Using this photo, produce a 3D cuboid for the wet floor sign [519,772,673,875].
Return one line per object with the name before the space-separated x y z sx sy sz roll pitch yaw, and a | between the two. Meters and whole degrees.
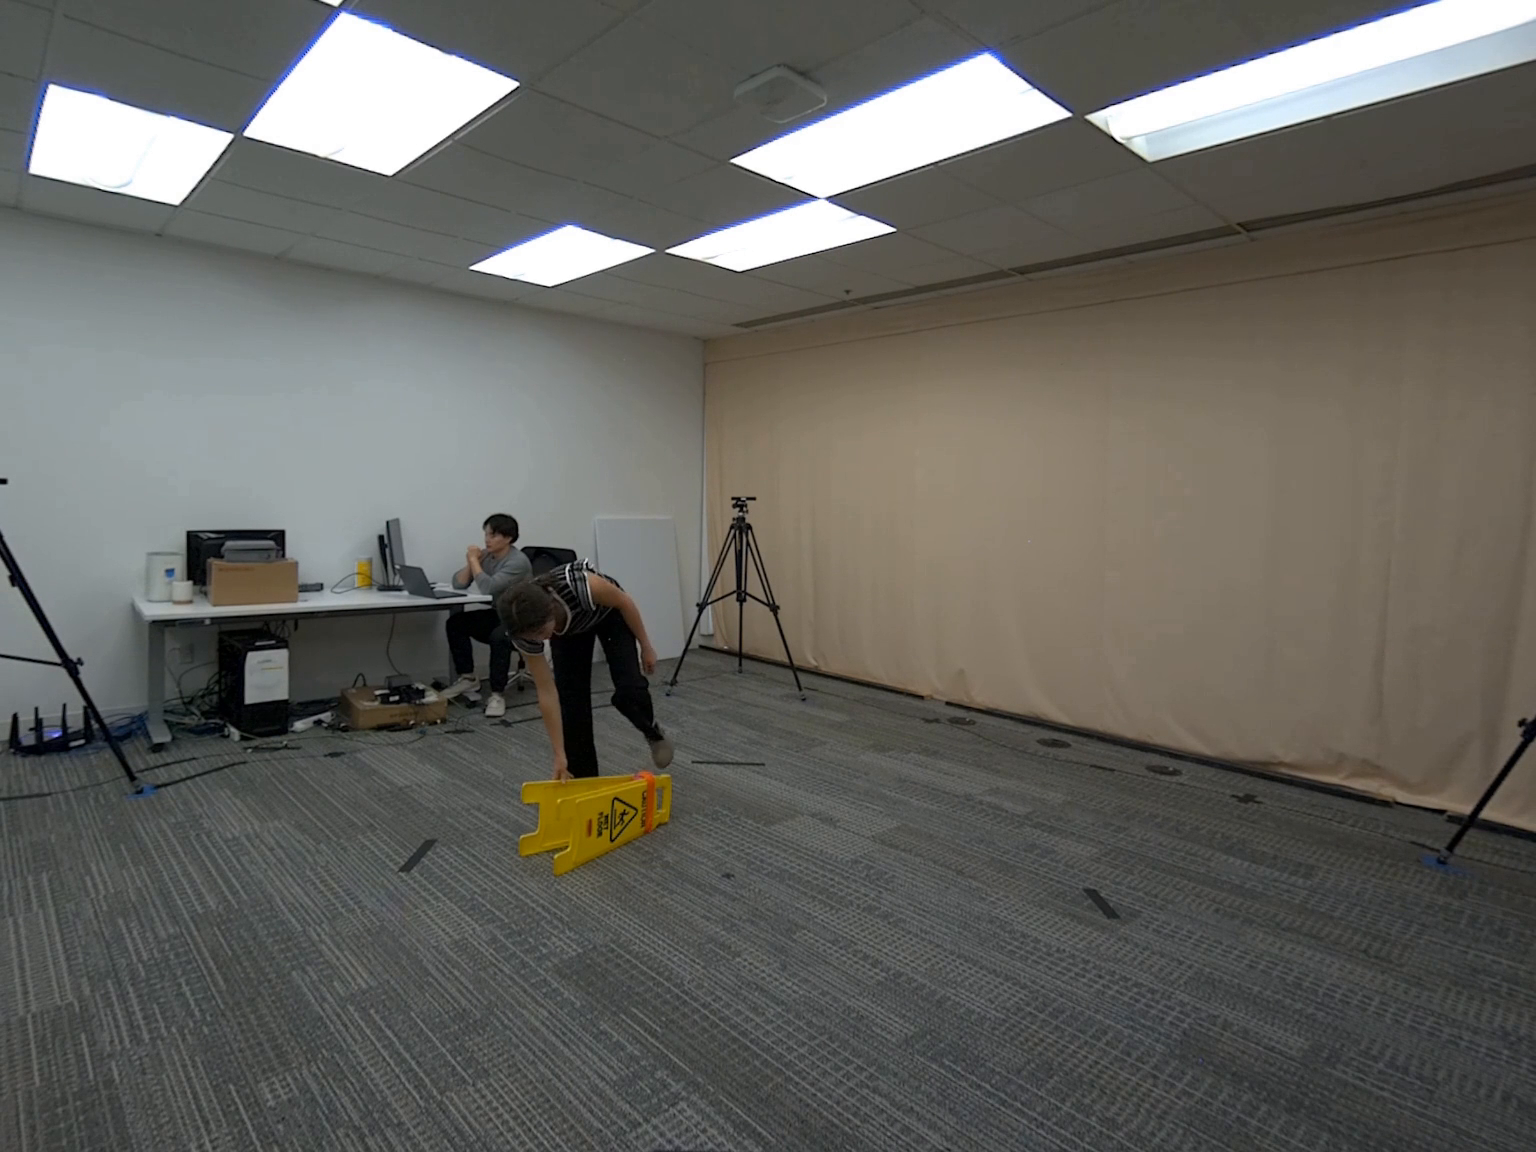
wet floor sign | -0.653 0.947 3.379 0.297 0.282 0.630 4 3 43
